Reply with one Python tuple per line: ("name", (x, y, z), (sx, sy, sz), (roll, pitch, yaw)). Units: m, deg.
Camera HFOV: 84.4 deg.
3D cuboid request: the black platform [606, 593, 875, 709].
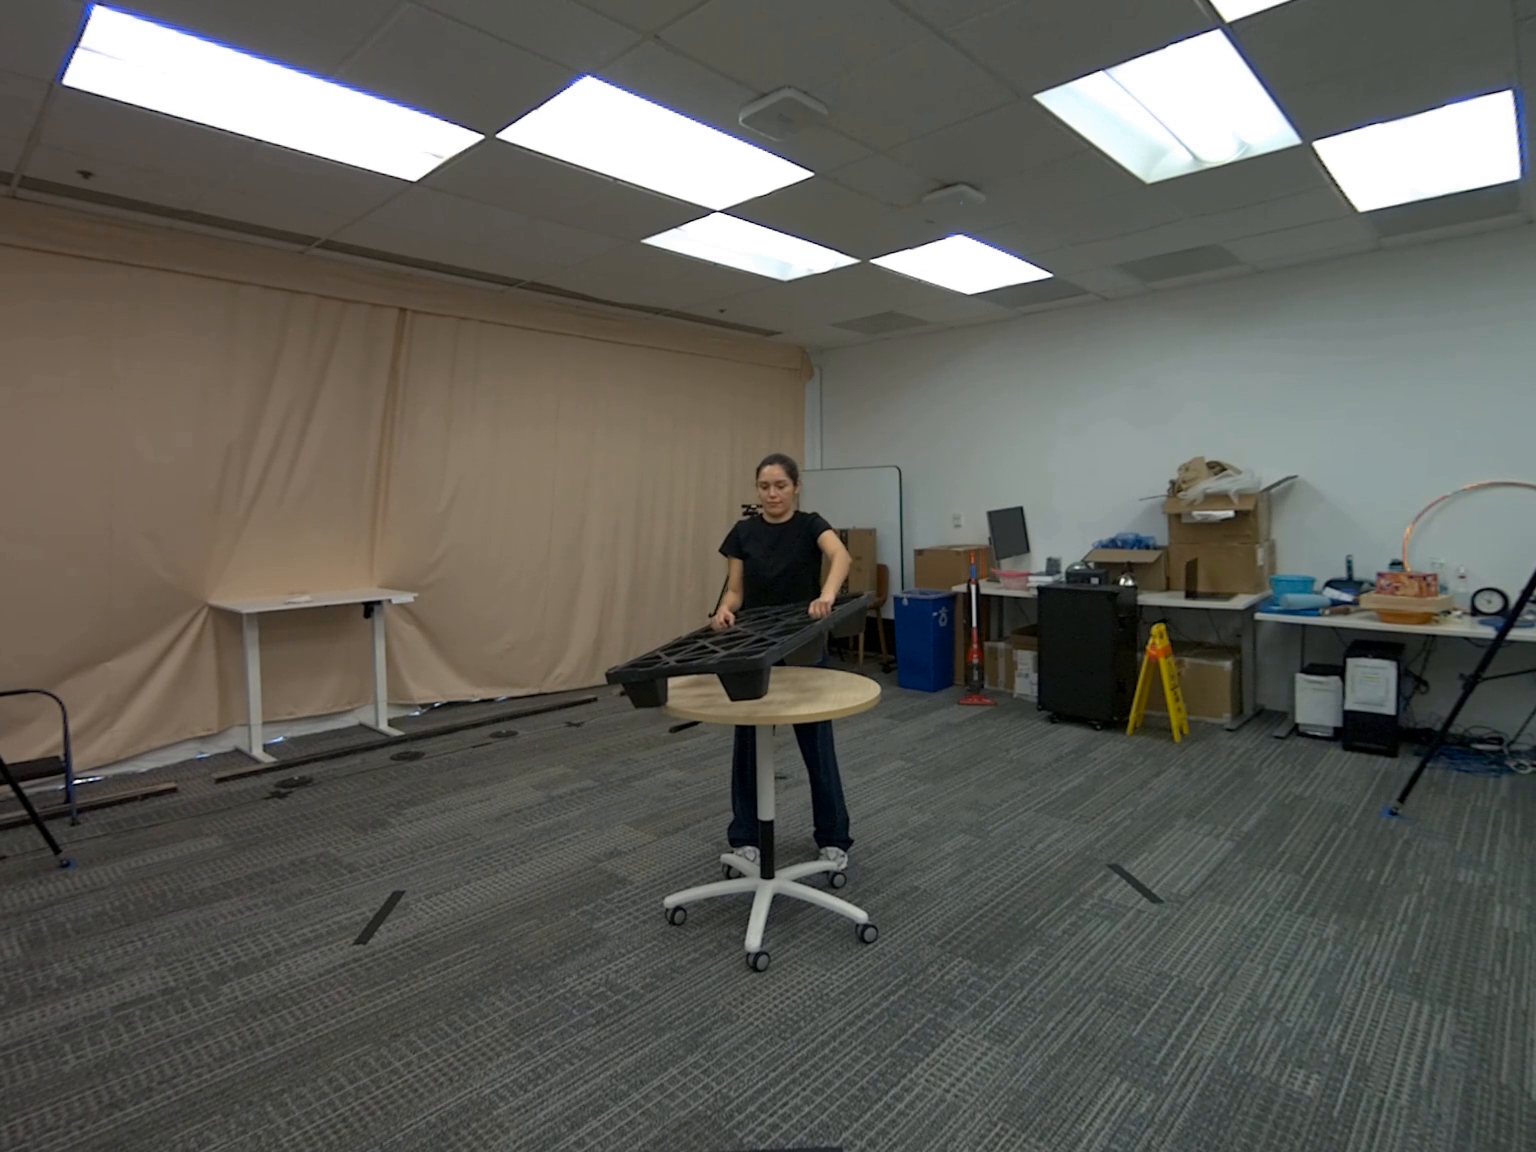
("black platform", (-0.045, 0.240, 2.779), (0.621, 0.143, 0.787), (-9, 7, 33))
